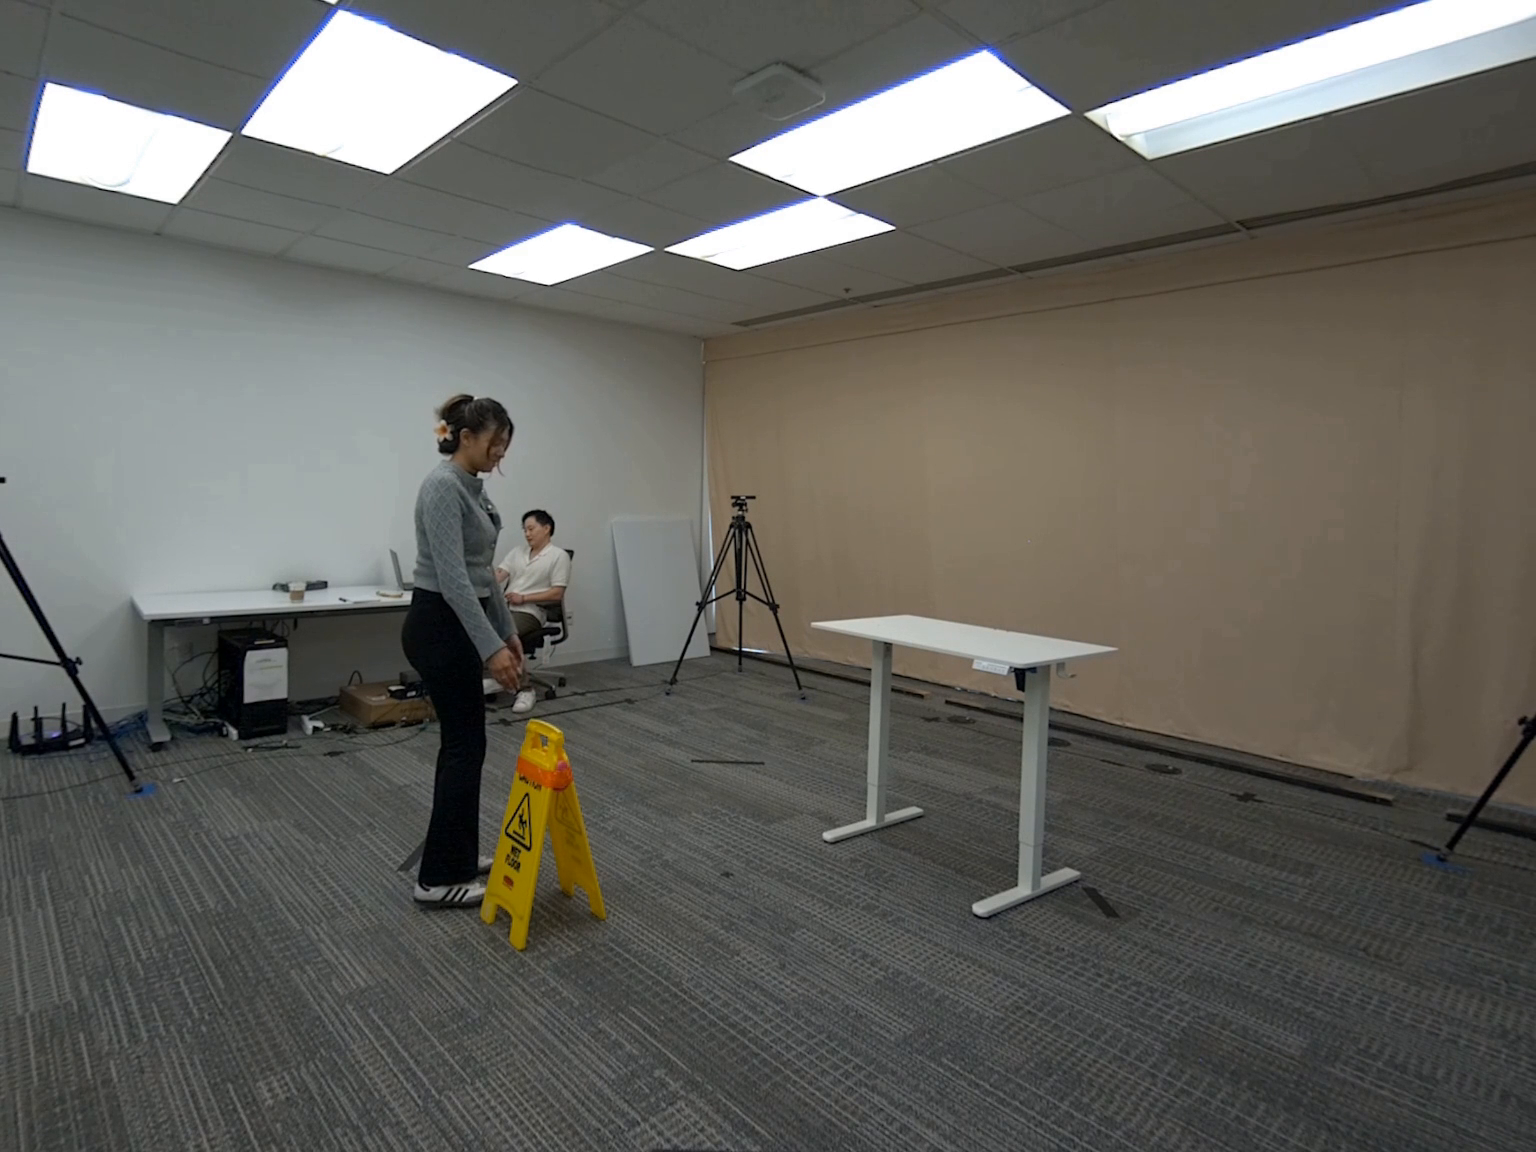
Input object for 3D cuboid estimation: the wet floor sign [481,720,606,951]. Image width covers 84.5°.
[{"bbox_3d":[-0.734,0.805,2.737,0.283,0.644,0.289,-2,4,-42],"label":"wet floor sign"}]
